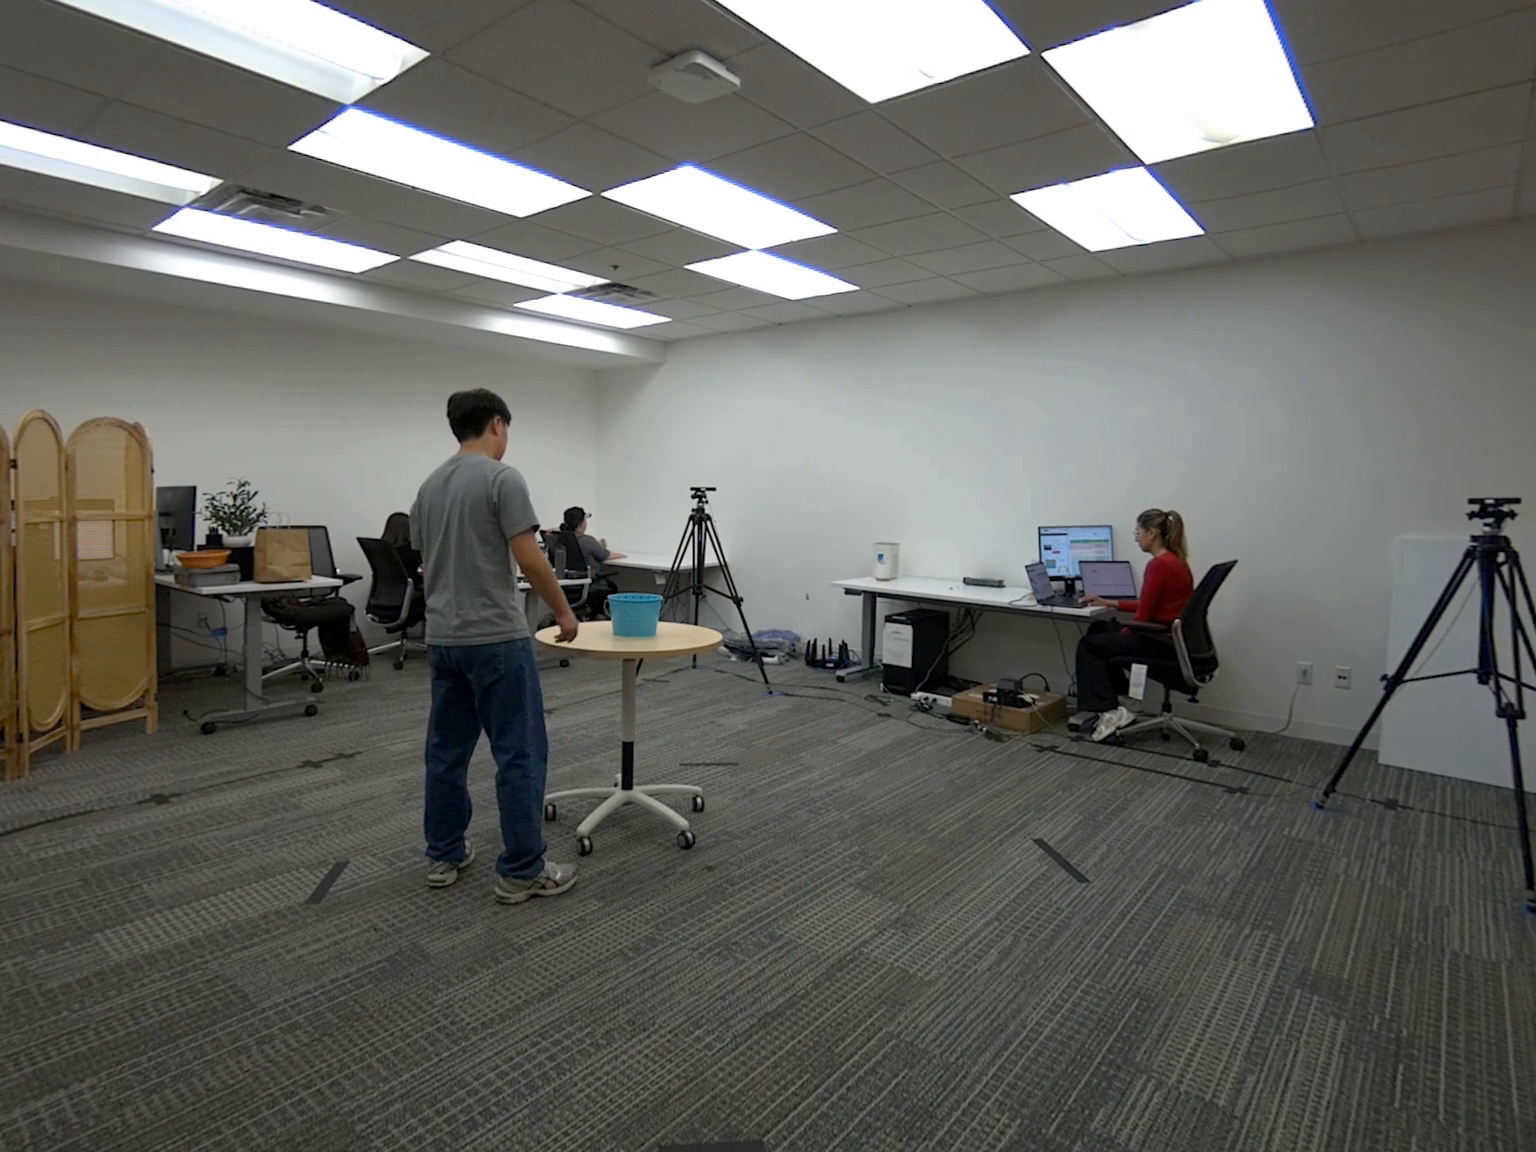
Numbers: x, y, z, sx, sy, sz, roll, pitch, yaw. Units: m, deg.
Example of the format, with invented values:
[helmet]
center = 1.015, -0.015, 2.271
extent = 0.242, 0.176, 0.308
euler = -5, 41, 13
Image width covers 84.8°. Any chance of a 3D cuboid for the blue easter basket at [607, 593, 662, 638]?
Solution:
[blue easter basket]
center = -0.565, 0.162, 3.535
extent = 0.243, 0.155, 0.245
euler = 1, 4, -2
